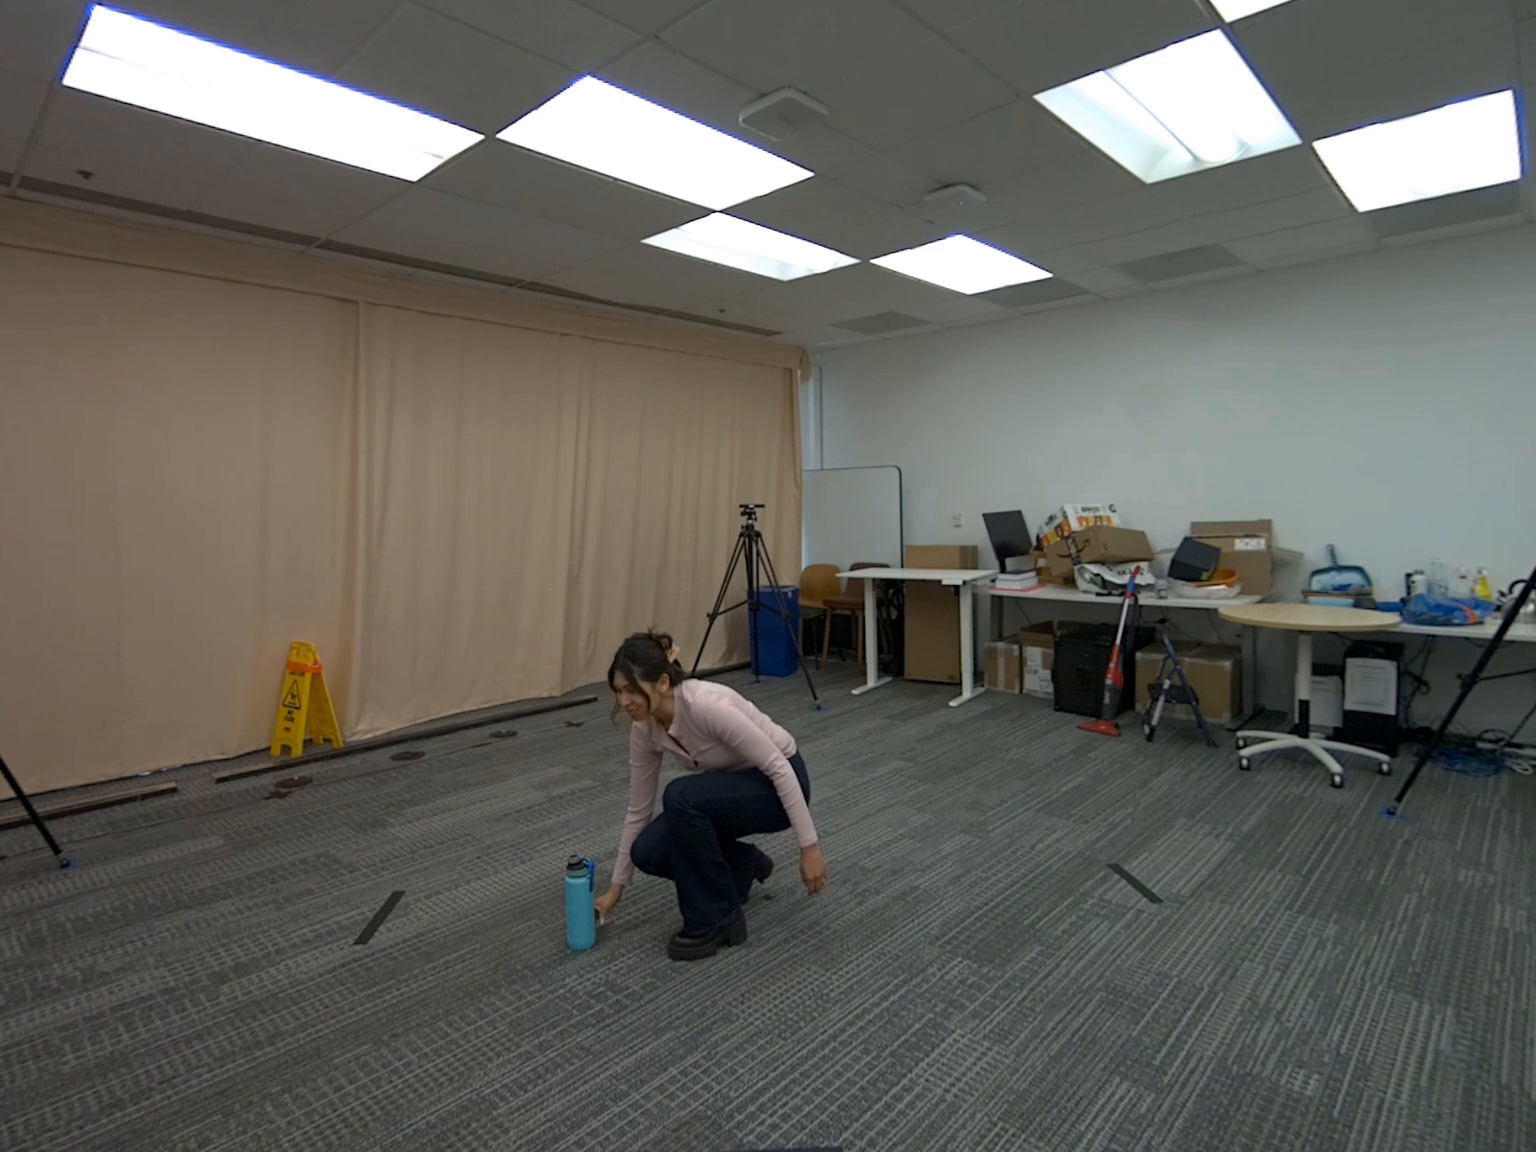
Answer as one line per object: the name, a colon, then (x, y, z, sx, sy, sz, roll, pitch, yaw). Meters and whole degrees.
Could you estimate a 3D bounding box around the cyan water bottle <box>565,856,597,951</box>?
cyan water bottle: (-0.599, 1.044, 2.691, 0.092, 0.283, 0.092, 0, 2, -2)
